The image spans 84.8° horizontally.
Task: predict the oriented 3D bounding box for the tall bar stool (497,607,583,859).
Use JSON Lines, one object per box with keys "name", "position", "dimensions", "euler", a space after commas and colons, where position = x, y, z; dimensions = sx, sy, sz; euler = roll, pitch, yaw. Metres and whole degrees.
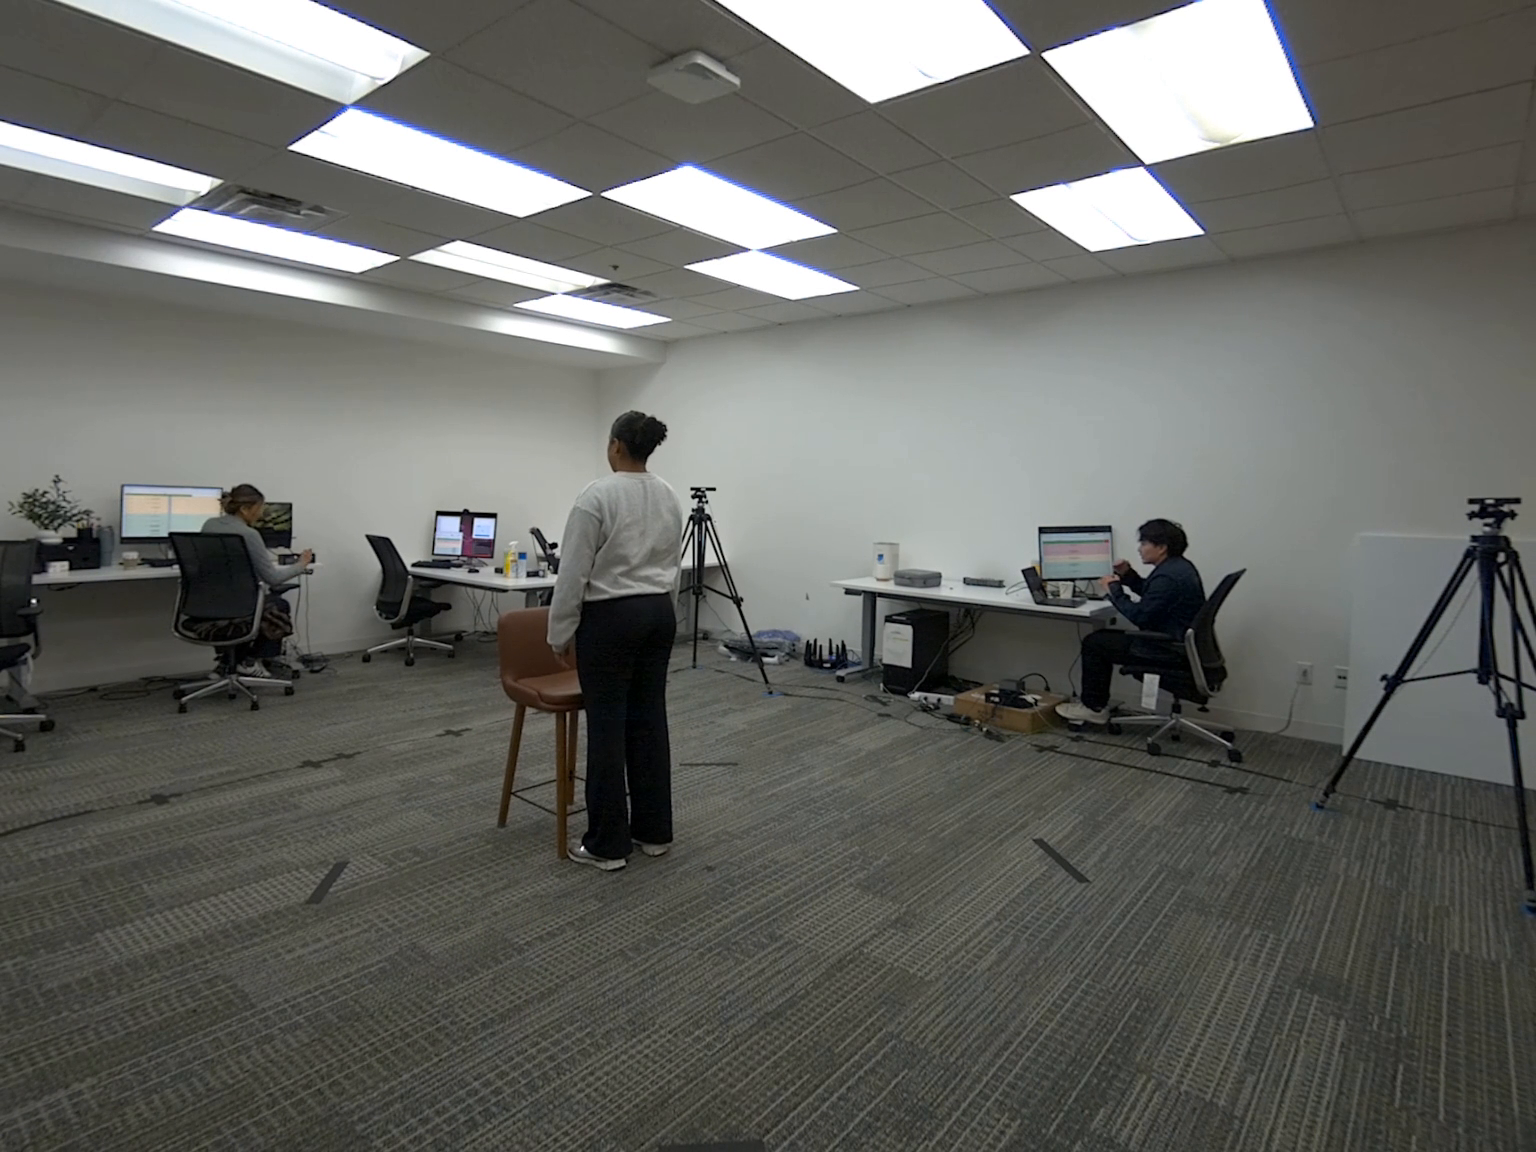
{"name": "tall bar stool", "position": [-0.826, 0.584, 3.444], "dimensions": [0.482, 0.889, 0.442], "euler": [1, 1, 40]}
